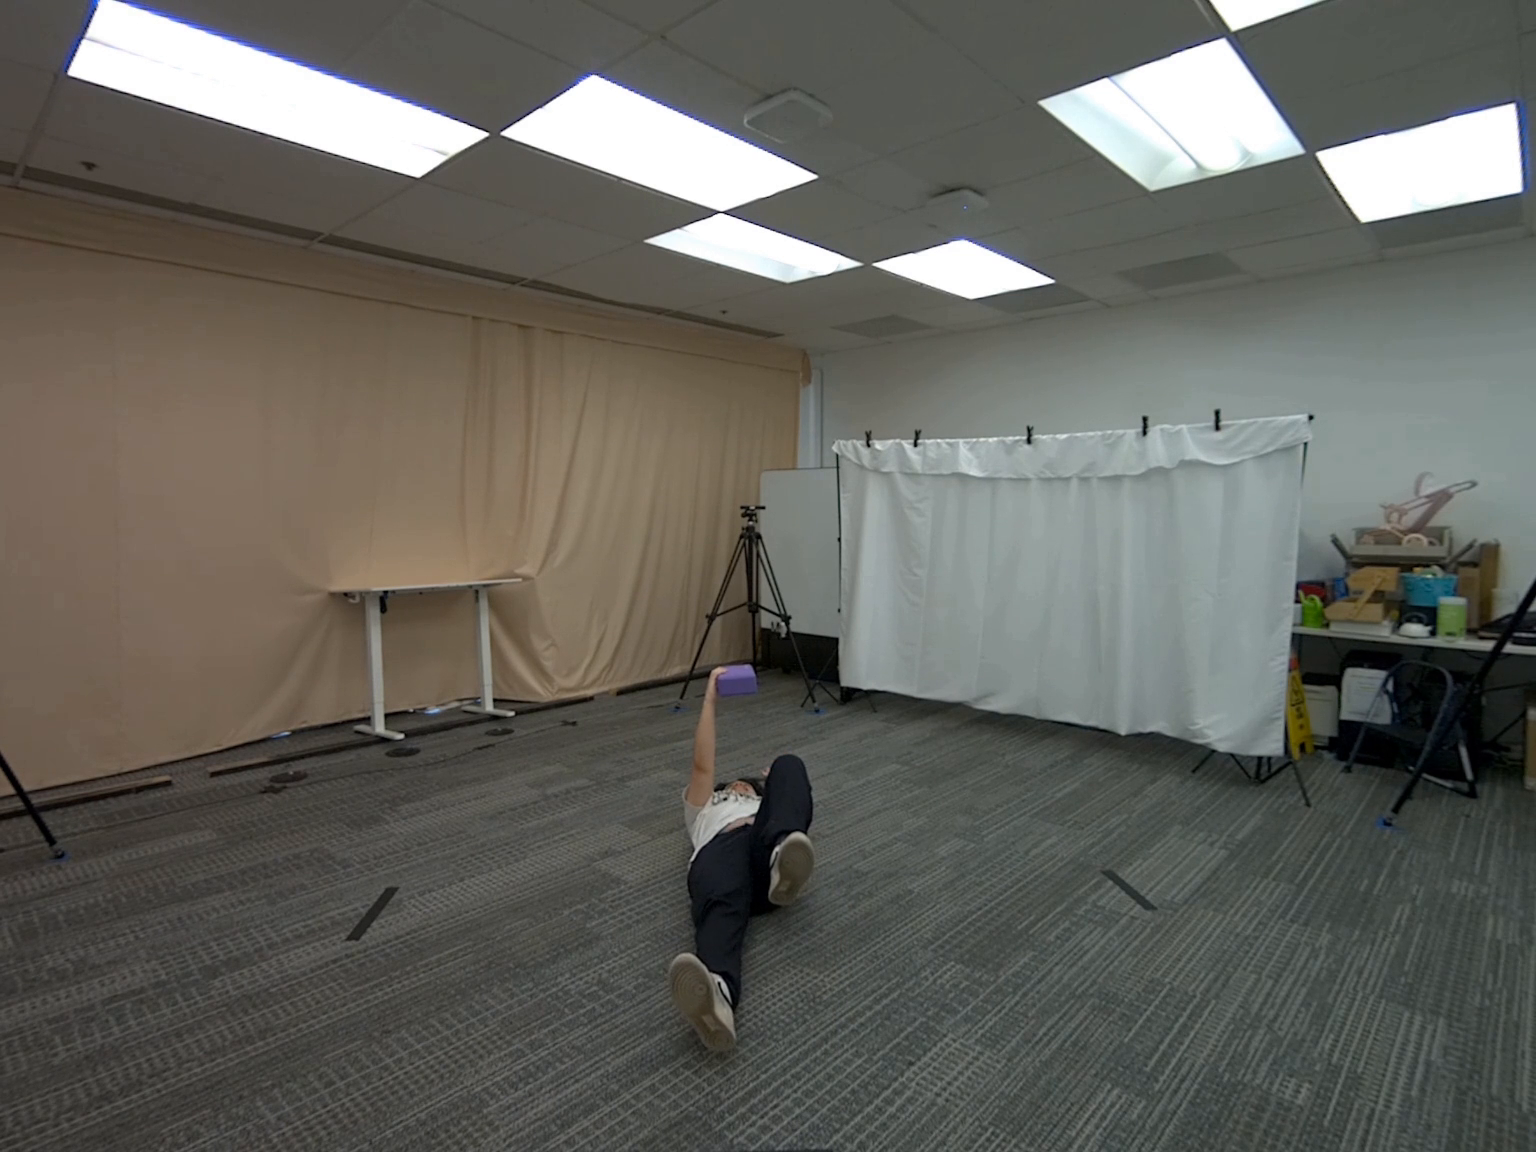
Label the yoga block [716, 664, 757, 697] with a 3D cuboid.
[{"bbox_3d":[-0.126,0.417,3.379,0.149,0.076,0.230,-6,6,0],"label":"yoga block"}]
